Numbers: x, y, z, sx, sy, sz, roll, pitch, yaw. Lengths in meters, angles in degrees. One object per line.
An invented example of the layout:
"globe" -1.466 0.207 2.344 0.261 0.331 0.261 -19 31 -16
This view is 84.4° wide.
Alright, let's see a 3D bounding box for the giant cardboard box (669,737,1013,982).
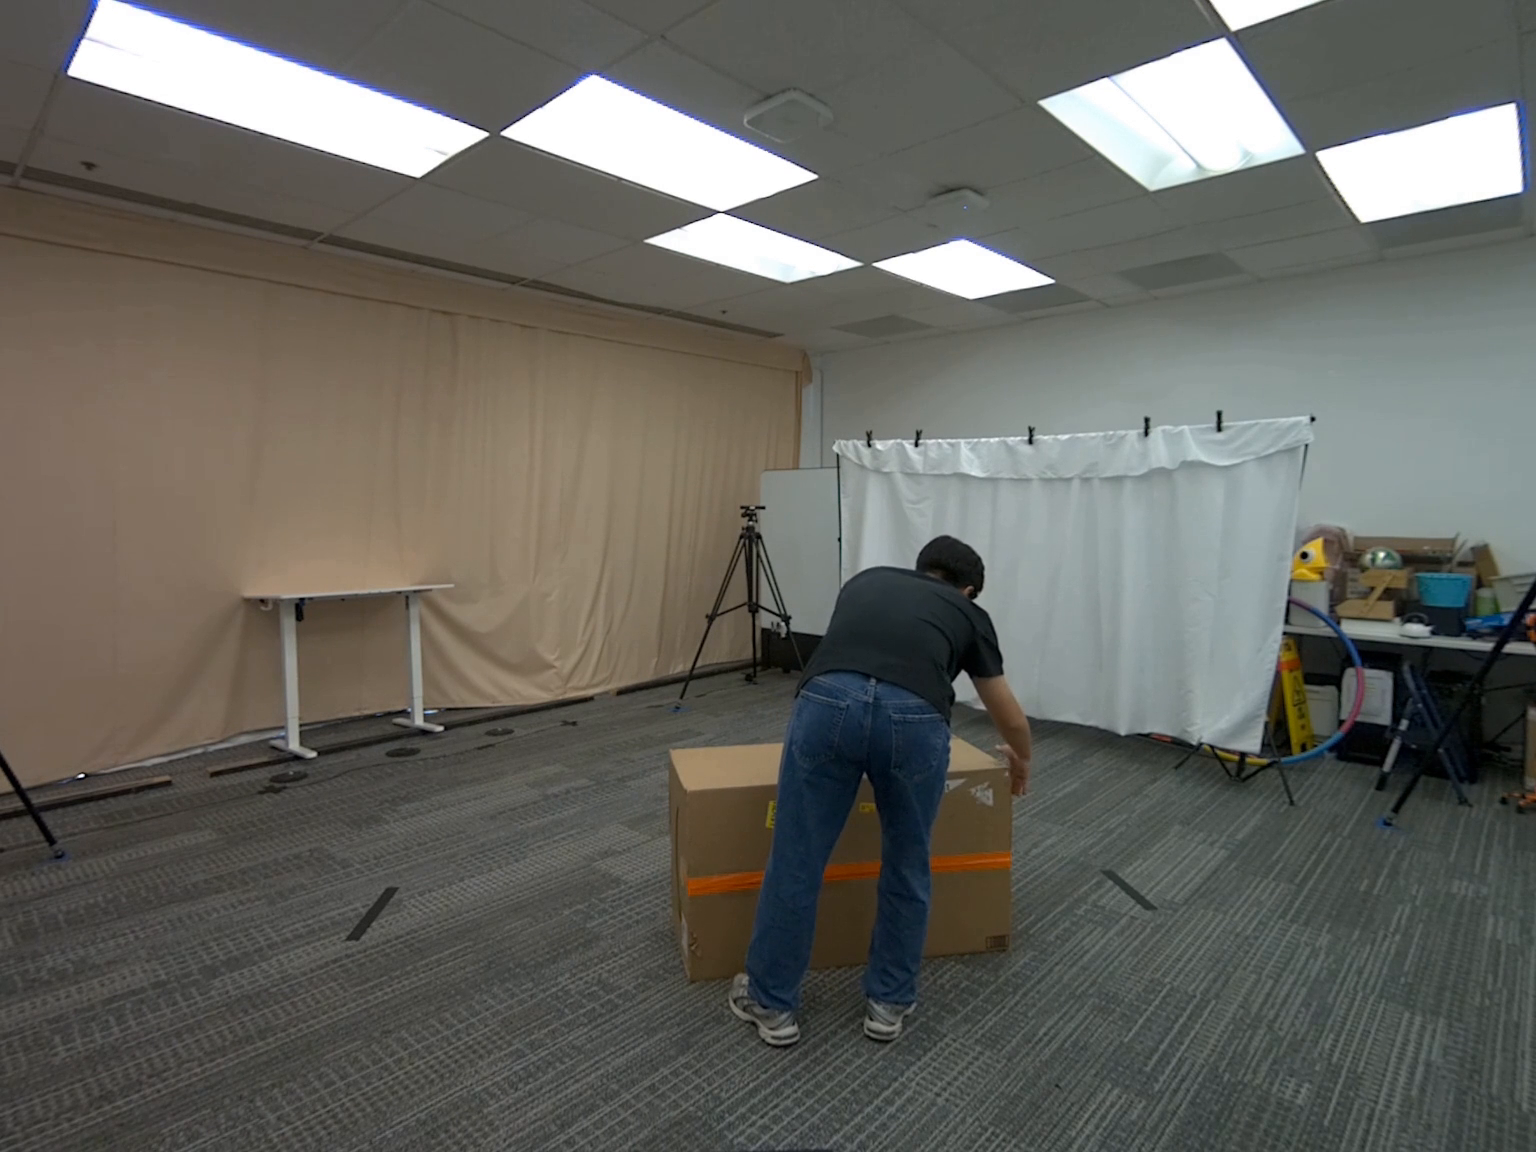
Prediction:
"giant cardboard box" 0.213 0.875 2.735 1.015 0.582 0.453 -2 5 -11
